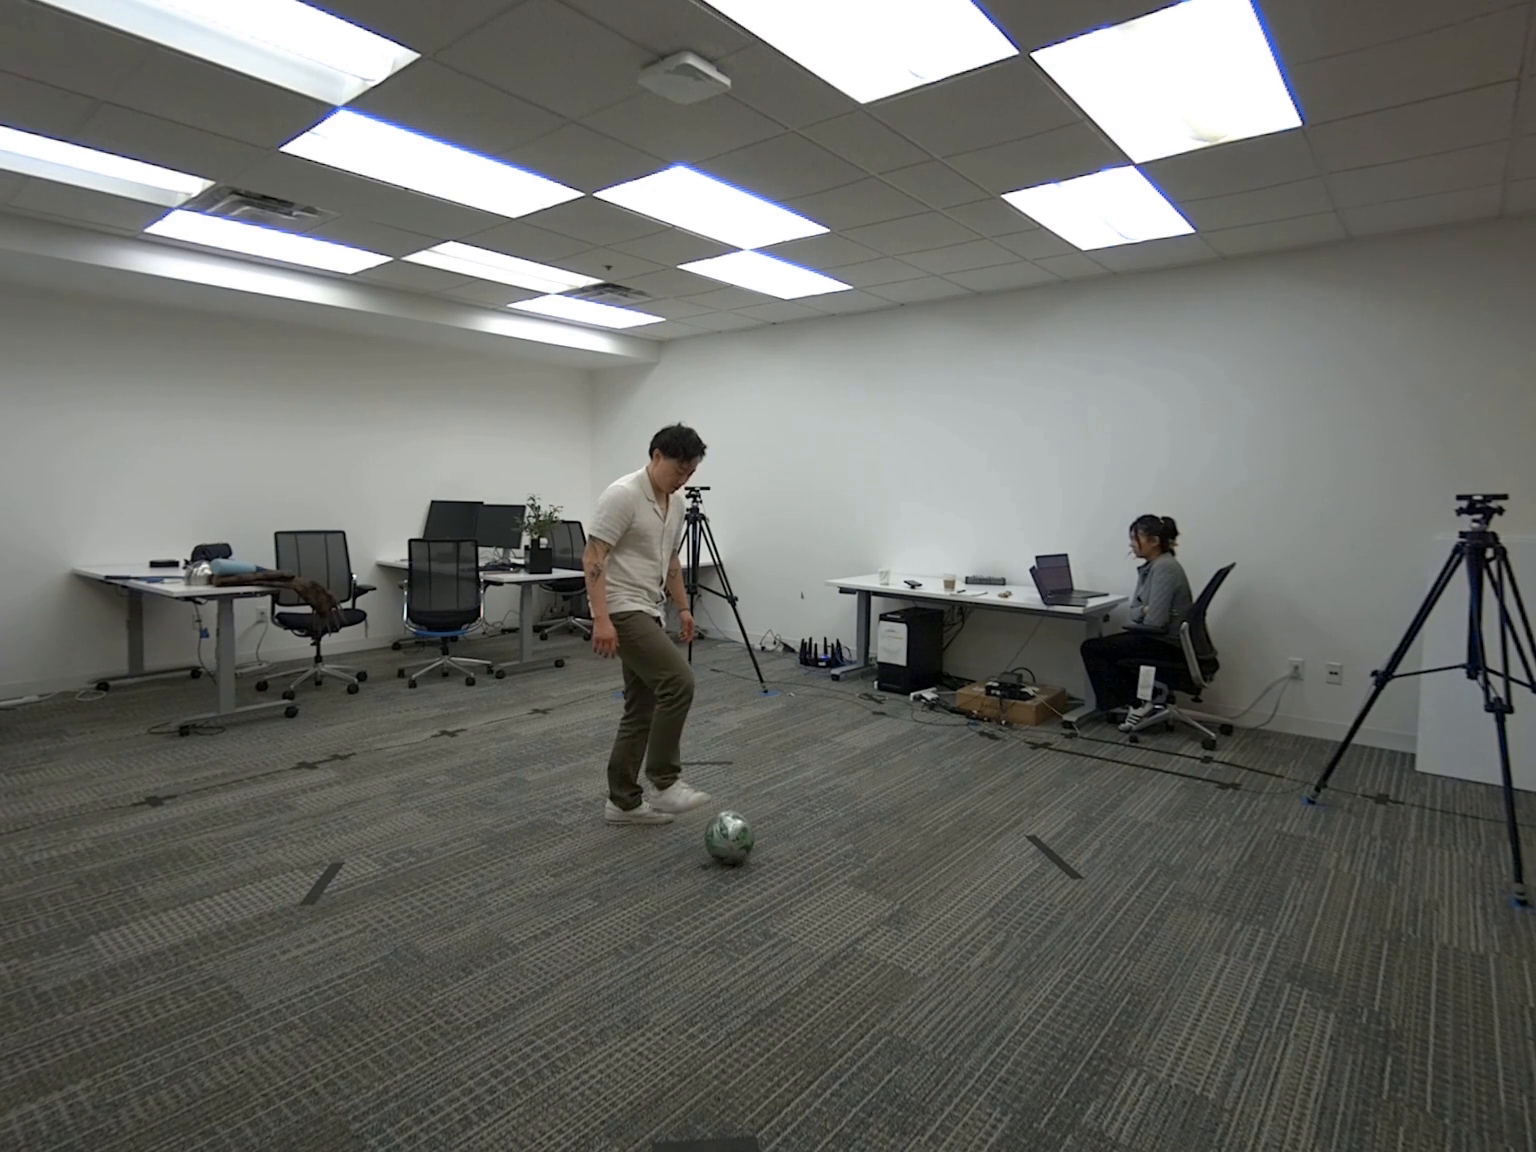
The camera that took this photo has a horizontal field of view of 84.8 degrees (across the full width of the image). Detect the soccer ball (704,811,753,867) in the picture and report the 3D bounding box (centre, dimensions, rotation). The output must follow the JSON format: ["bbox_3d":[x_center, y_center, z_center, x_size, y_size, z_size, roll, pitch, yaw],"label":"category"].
[{"bbox_3d":[-0.157,0.951,3.155,0.187,0.187,0.188,1,4,-2],"label":"soccer ball"}]
